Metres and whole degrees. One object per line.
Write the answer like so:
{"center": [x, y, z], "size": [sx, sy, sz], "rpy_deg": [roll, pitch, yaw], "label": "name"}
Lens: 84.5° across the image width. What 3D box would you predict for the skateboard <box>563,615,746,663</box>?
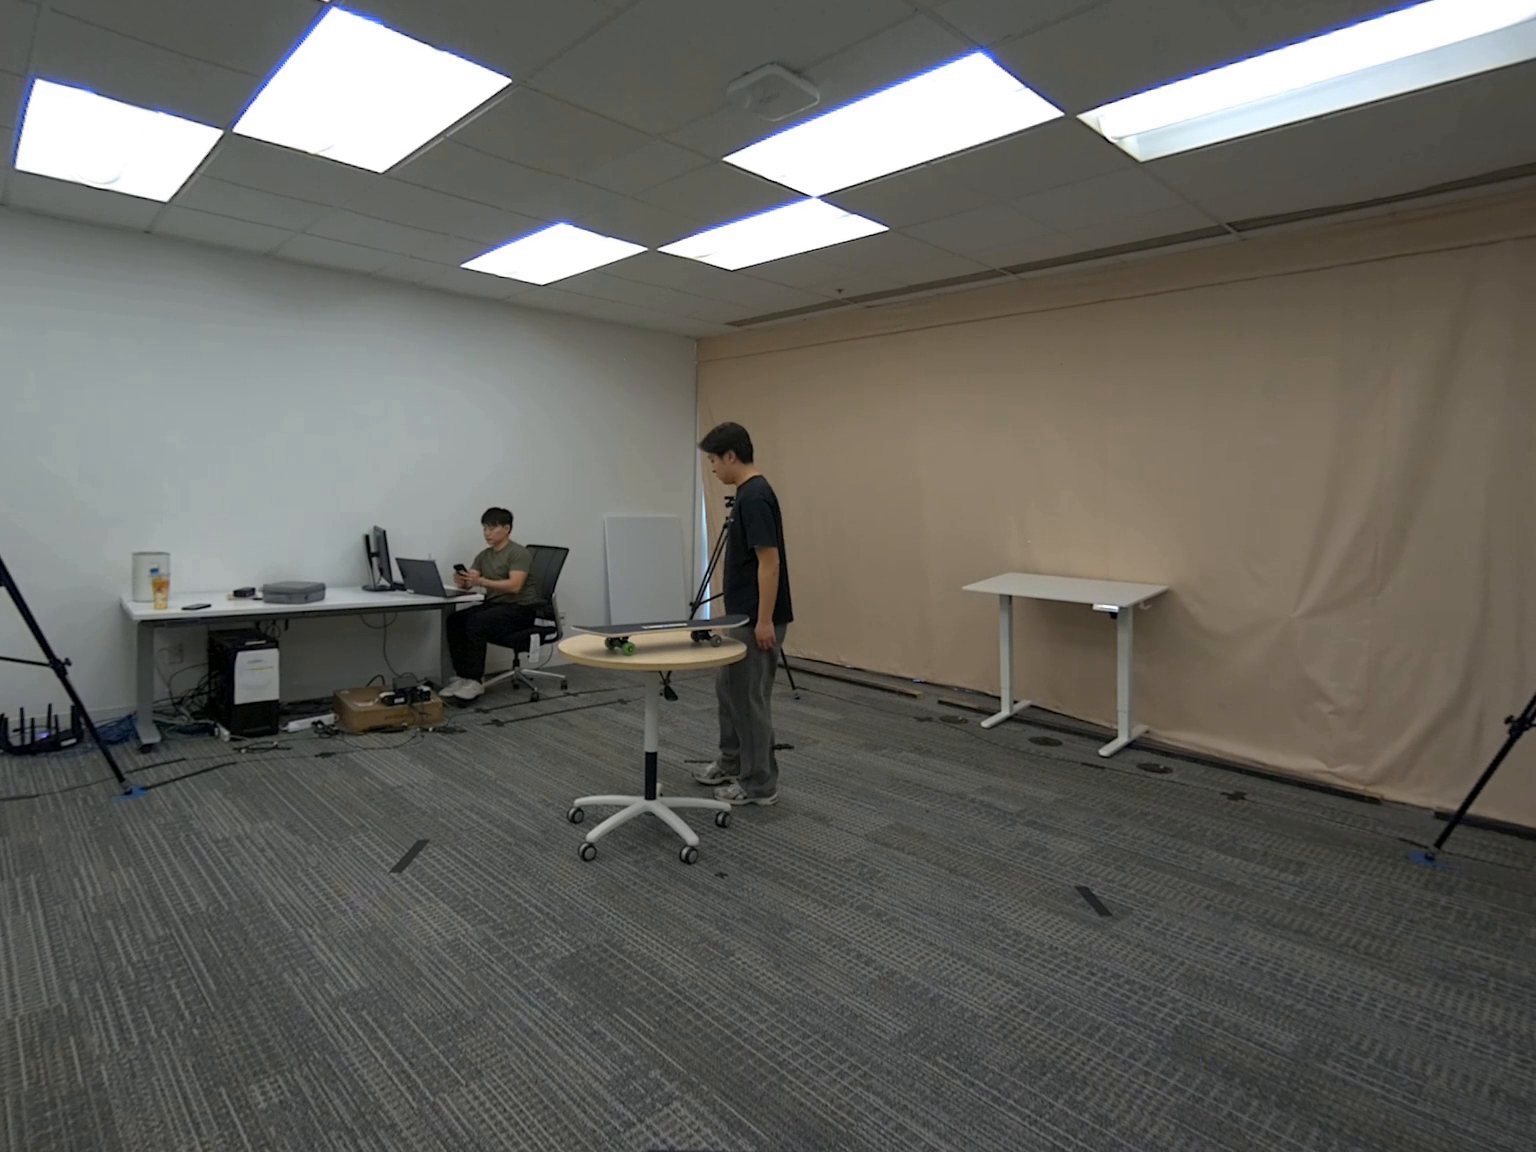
{"center": [-0.409, 0.238, 3.380], "size": [0.768, 0.110, 0.198], "rpy_deg": [-2, 6, -34], "label": "skateboard"}
